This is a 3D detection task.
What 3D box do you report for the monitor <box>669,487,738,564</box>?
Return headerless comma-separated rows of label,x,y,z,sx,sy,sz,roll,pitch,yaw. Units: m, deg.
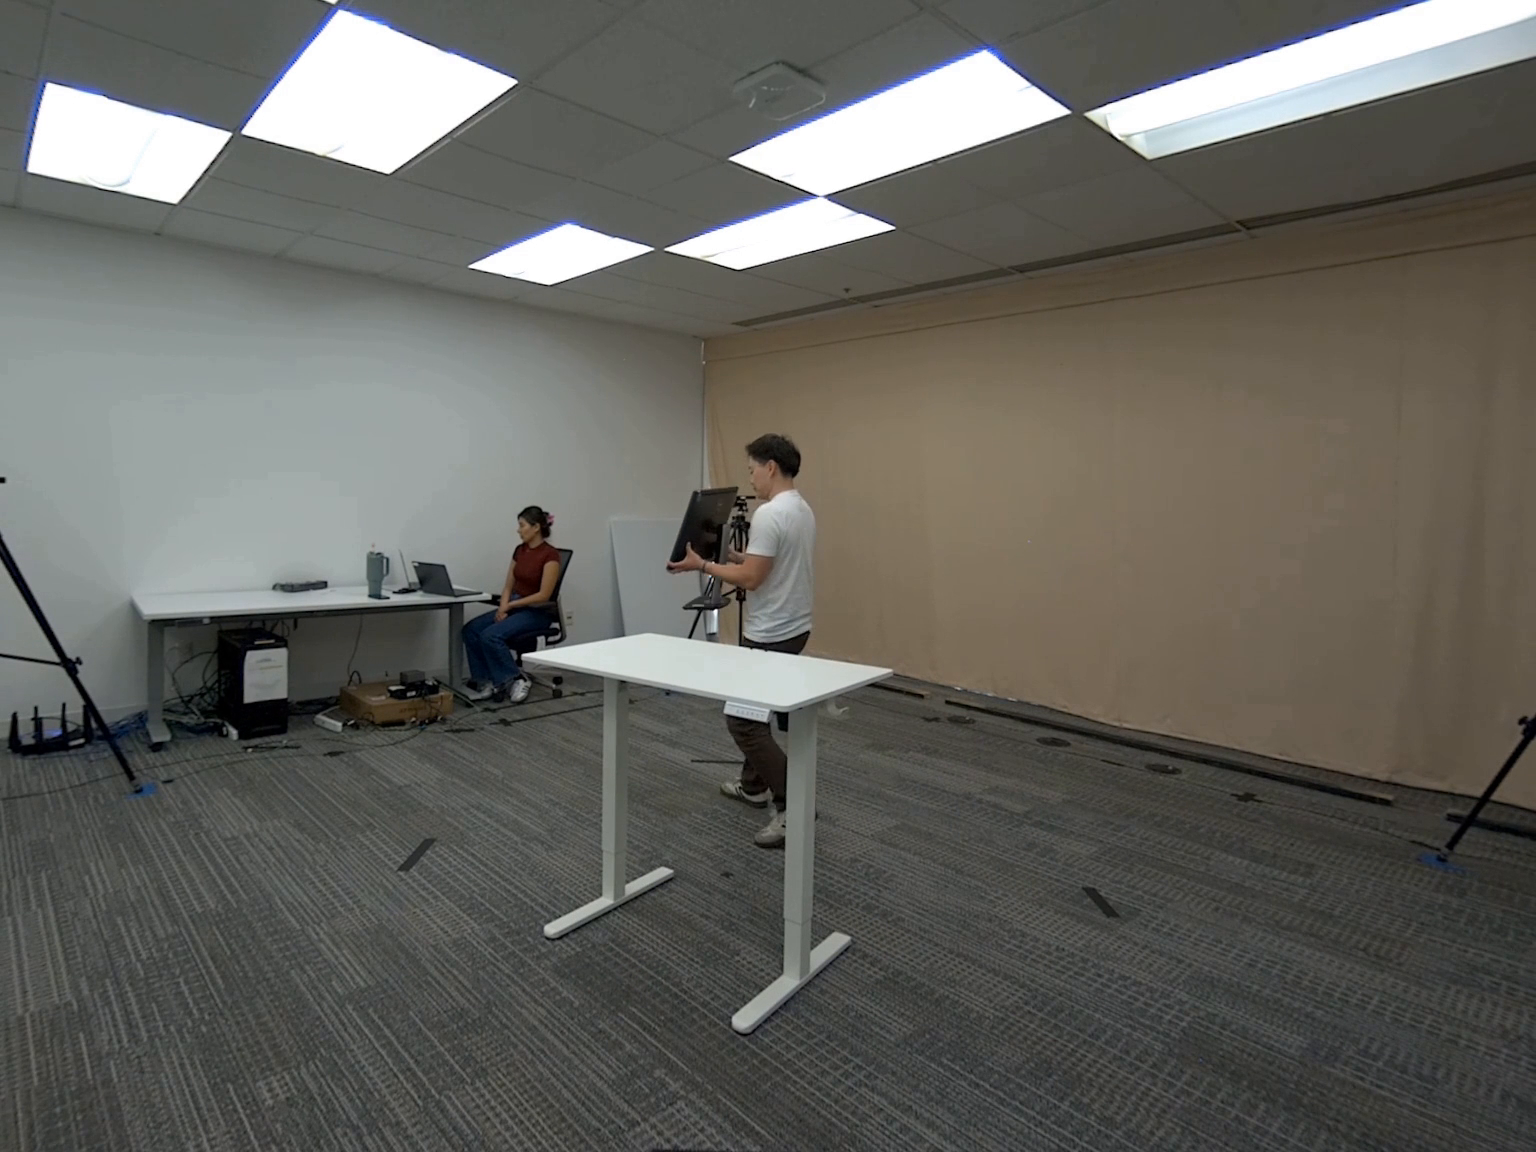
monitor,-0.256,-0.123,3.688,0.190,0.520,0.534,7,8,15
